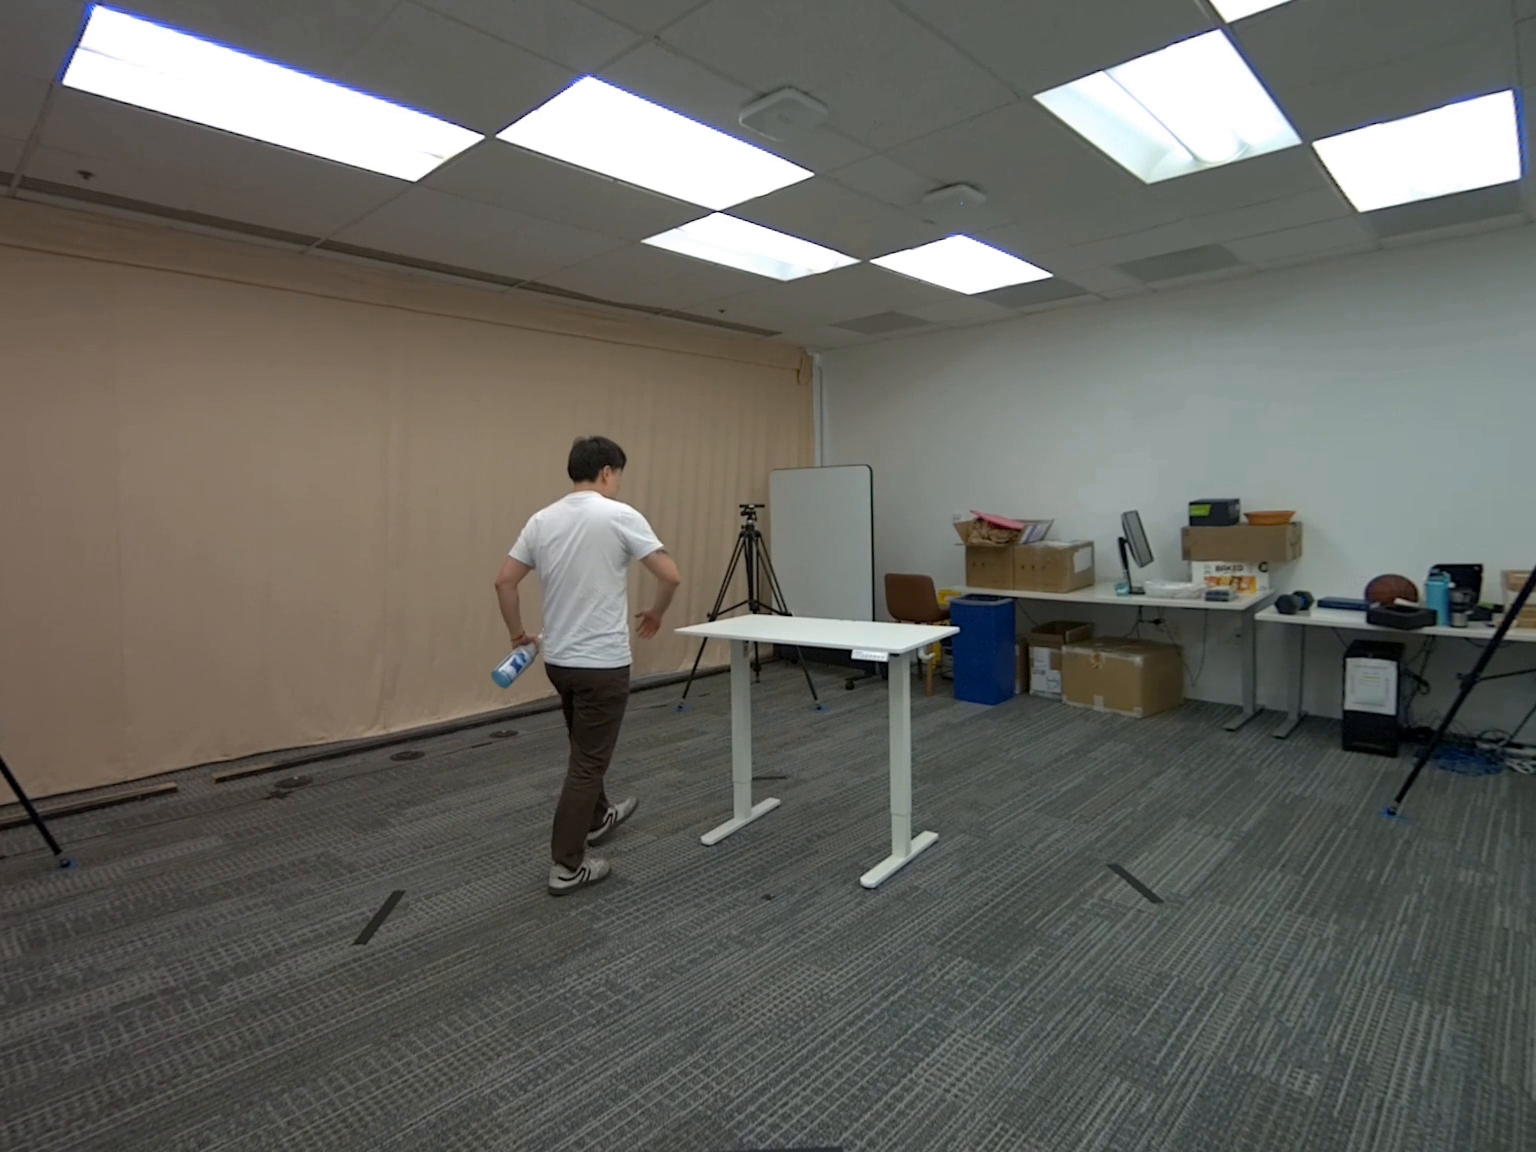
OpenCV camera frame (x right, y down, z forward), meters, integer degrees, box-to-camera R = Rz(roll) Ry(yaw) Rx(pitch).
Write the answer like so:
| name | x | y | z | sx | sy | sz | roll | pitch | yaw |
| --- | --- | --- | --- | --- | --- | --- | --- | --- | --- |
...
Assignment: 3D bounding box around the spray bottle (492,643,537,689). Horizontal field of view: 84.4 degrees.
| name | x | y | z | sx | sy | sz | roll | pitch | yaw |
| --- | --- | --- | --- | --- | --- | --- | --- | --- | --- |
| spray bottle | -0.954 | 0.313 | 3.326 | 0.090 | 0.088 | 0.295 | 4 | 39 | 39 |
